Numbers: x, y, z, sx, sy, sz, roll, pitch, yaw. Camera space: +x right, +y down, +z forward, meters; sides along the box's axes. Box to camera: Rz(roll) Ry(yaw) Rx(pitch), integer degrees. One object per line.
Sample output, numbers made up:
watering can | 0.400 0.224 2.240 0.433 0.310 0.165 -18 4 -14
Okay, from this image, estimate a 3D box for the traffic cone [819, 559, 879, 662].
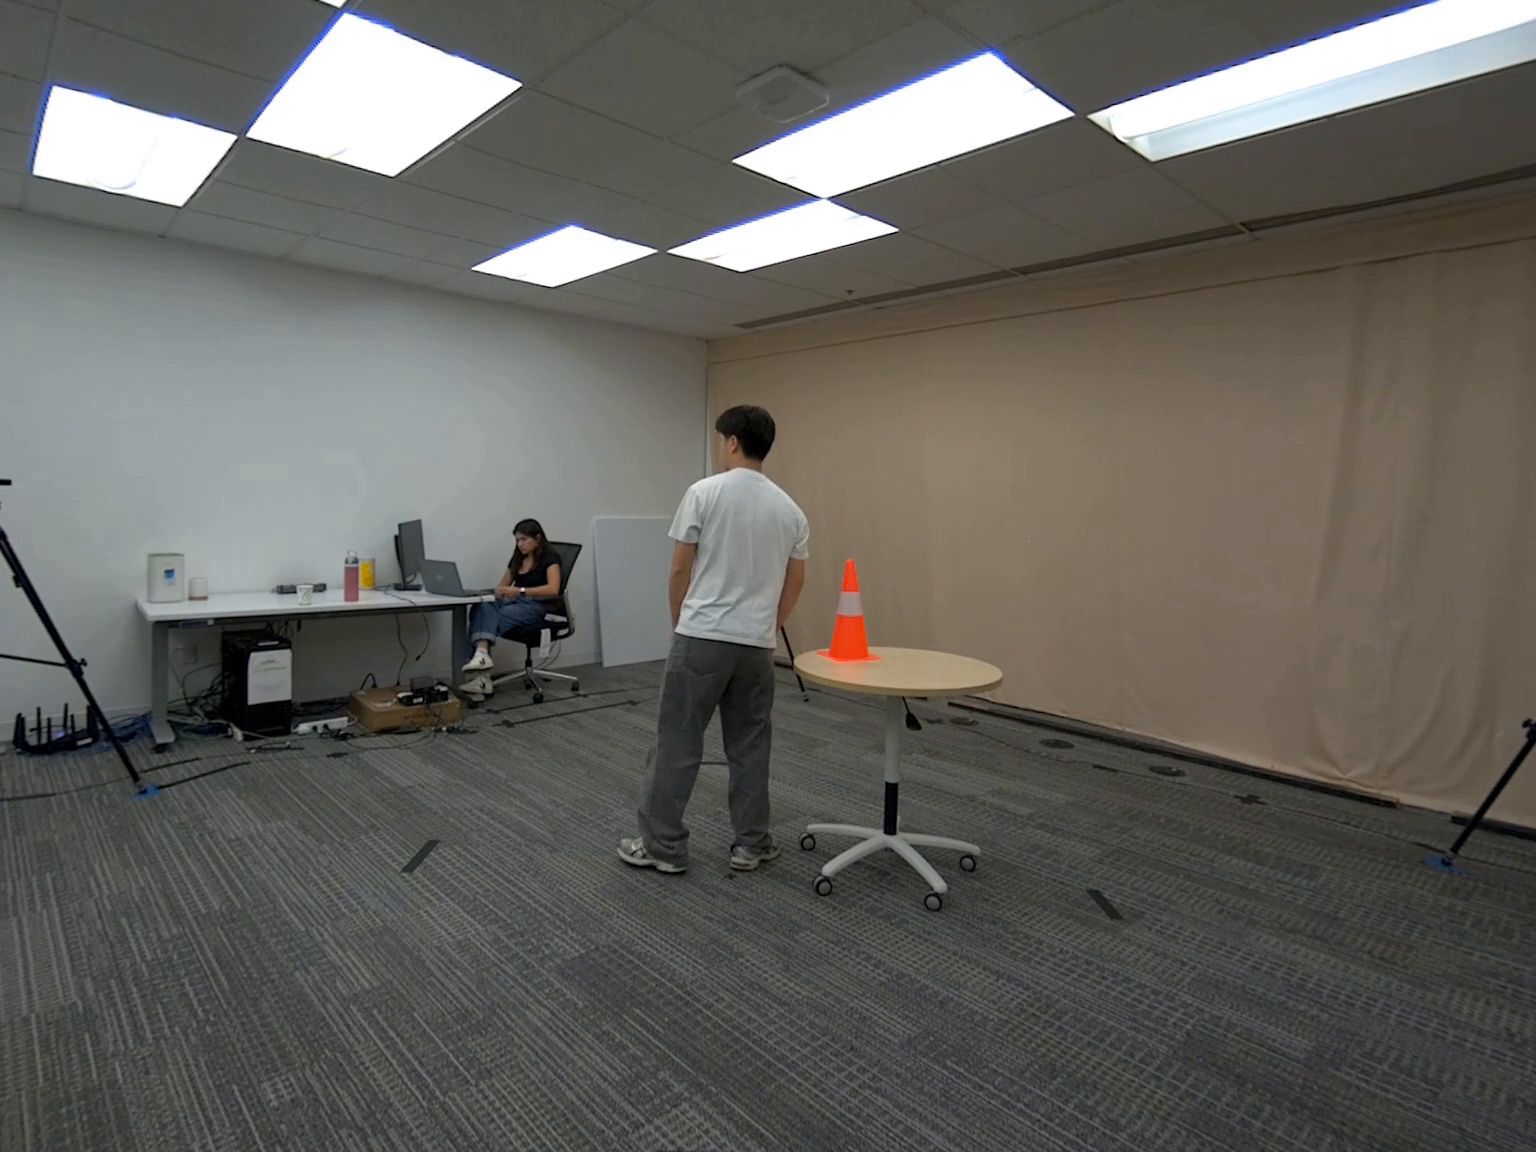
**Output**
traffic cone | 0.301 0.130 3.297 0.200 0.382 0.209 -1 7 -23
